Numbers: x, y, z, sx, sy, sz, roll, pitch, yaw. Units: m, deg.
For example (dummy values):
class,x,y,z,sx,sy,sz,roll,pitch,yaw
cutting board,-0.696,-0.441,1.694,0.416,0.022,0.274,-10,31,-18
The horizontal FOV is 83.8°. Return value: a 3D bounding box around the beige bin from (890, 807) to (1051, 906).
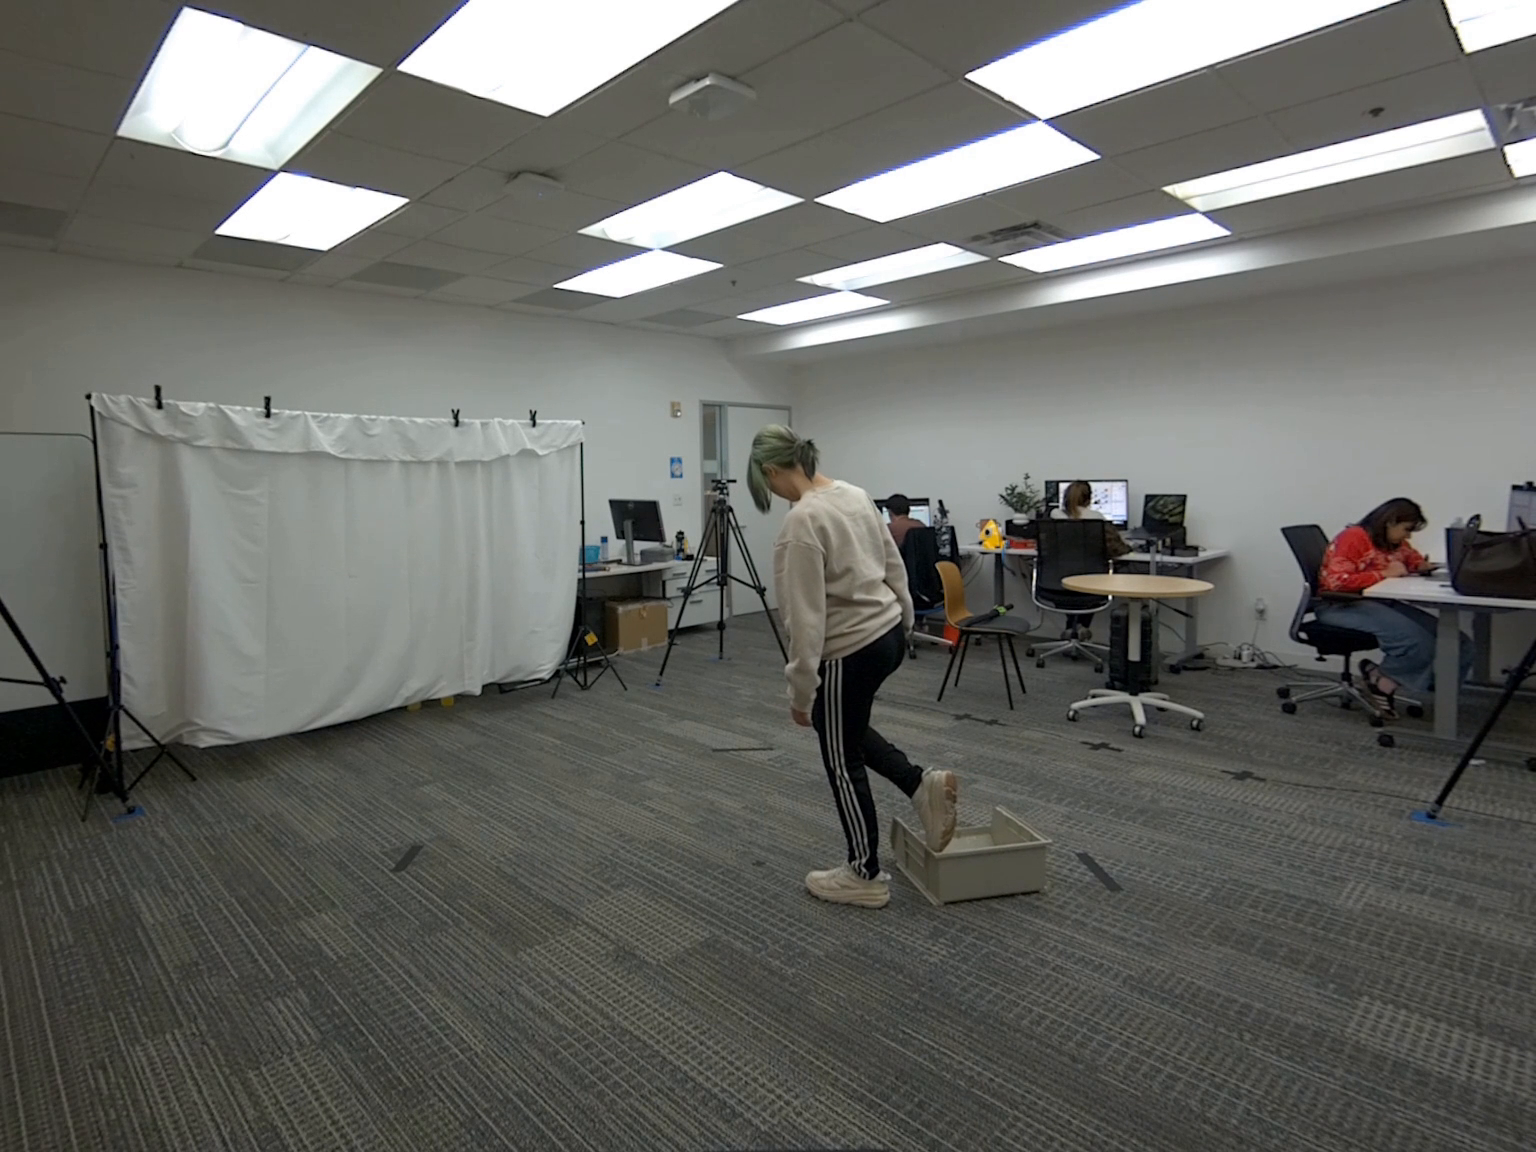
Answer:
class,x,y,z,sx,sy,sz,roll,pitch,yaw
beige bin,0.693,0.957,2.980,0.417,0.188,0.384,-2,7,-15
